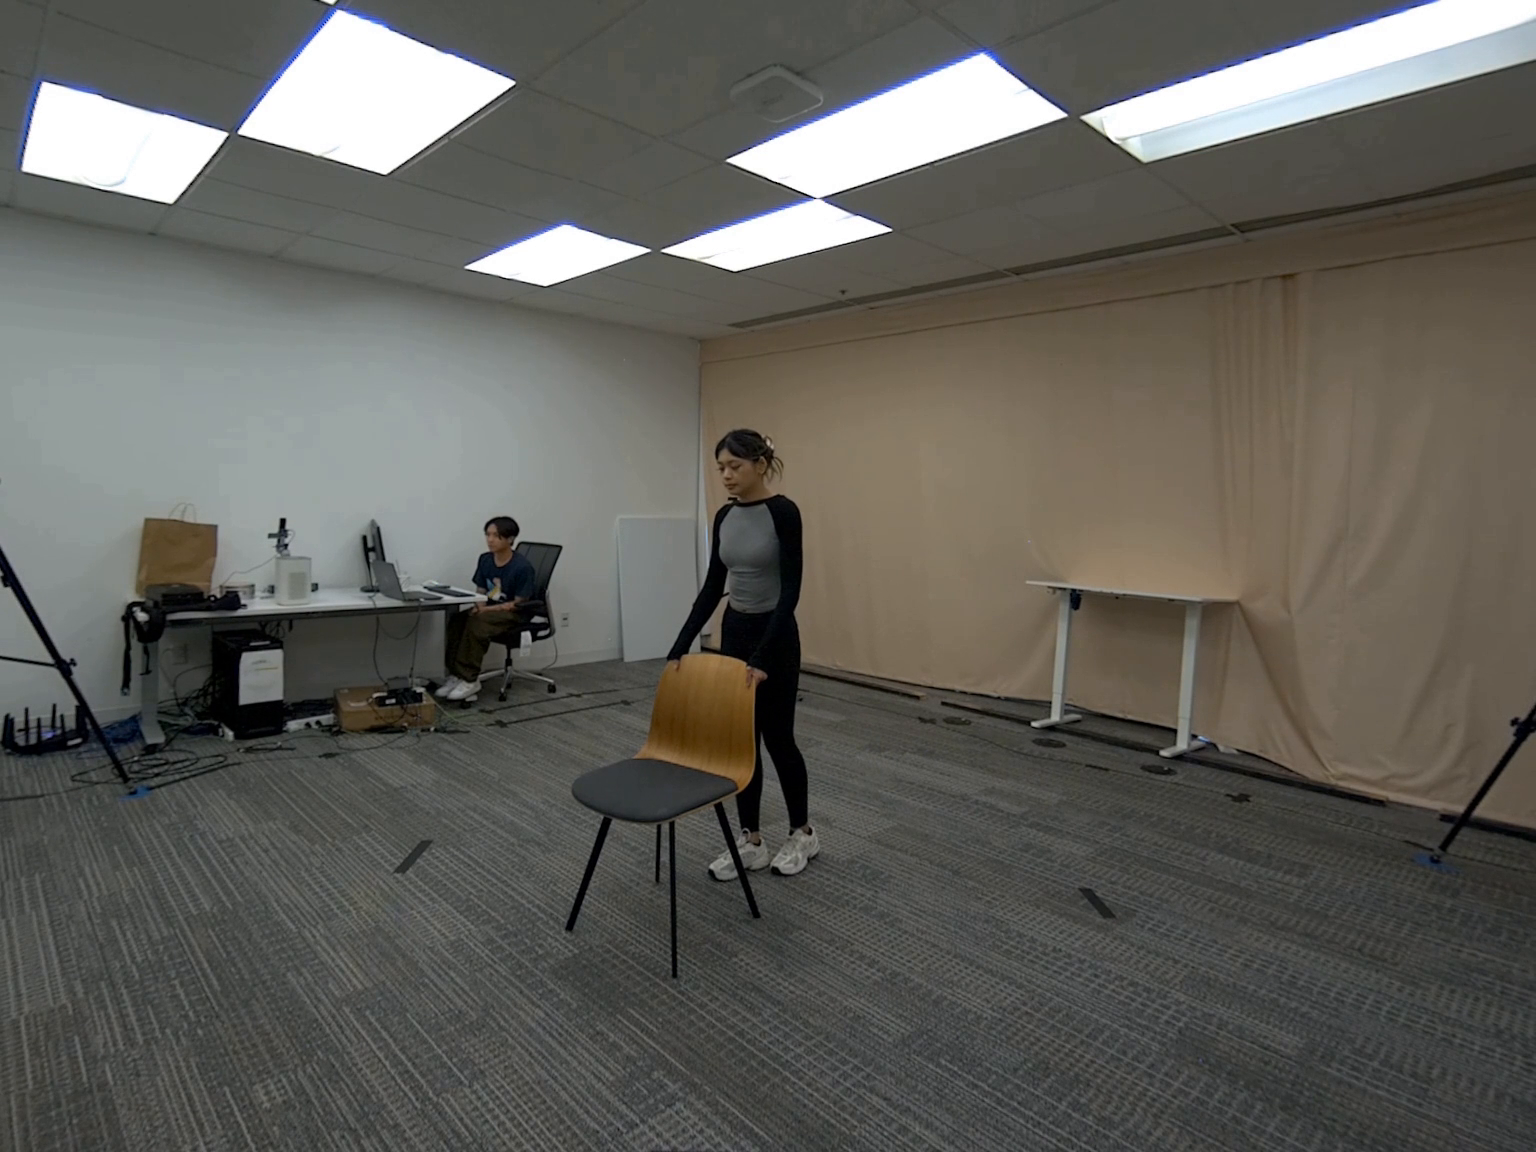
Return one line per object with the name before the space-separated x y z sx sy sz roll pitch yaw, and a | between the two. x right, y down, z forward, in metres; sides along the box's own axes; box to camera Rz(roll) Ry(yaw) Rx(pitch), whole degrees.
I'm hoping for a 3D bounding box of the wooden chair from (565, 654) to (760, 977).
wooden chair | -0.327 0.712 2.705 0.489 0.878 0.510 4 -1 34
